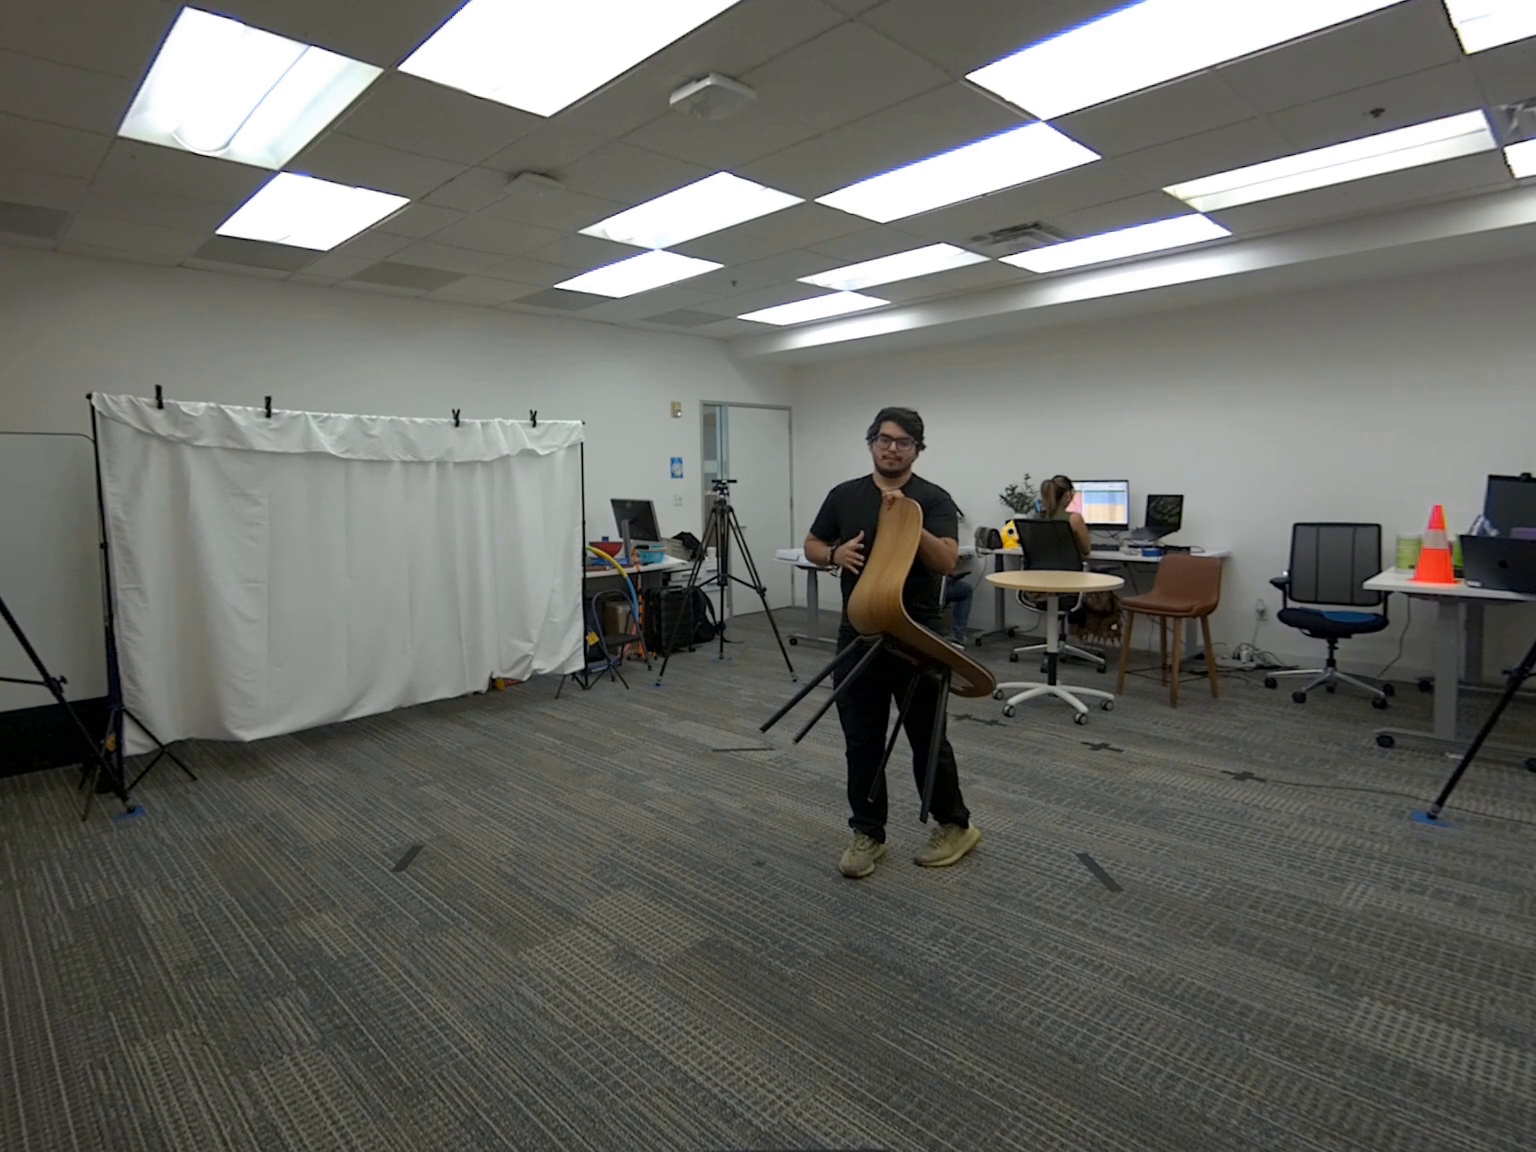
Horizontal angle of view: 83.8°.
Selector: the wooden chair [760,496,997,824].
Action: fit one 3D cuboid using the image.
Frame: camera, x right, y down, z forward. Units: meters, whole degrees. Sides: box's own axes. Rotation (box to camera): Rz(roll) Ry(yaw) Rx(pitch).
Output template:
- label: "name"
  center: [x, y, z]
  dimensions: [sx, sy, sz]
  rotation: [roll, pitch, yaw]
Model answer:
- label: "wooden chair"
  center: [0.433, 0.258, 2.718]
  dimensions: [0.519, 0.881, 0.480]
  rotation: [28, -12, -6]
